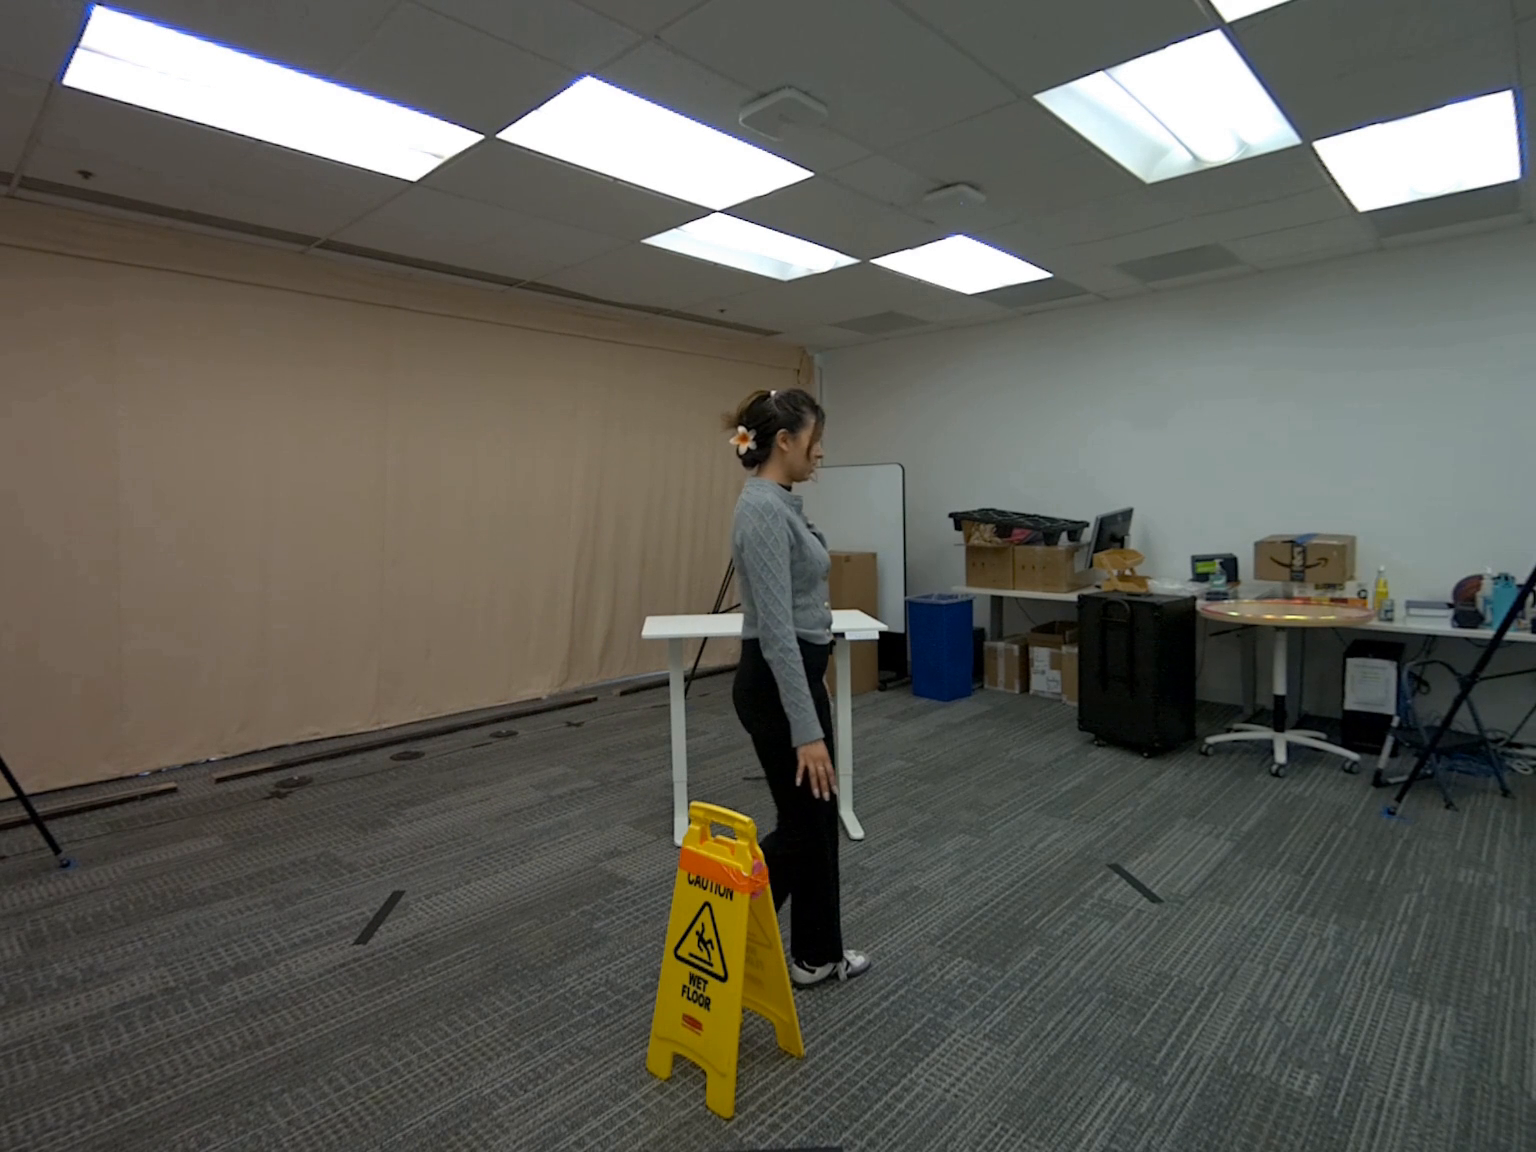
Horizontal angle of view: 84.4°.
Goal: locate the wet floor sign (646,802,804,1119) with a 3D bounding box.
[{"bbox_3d":[-0.109,0.895,2.084,0.291,0.645,0.281,1,4,40],"label":"wet floor sign"}]
